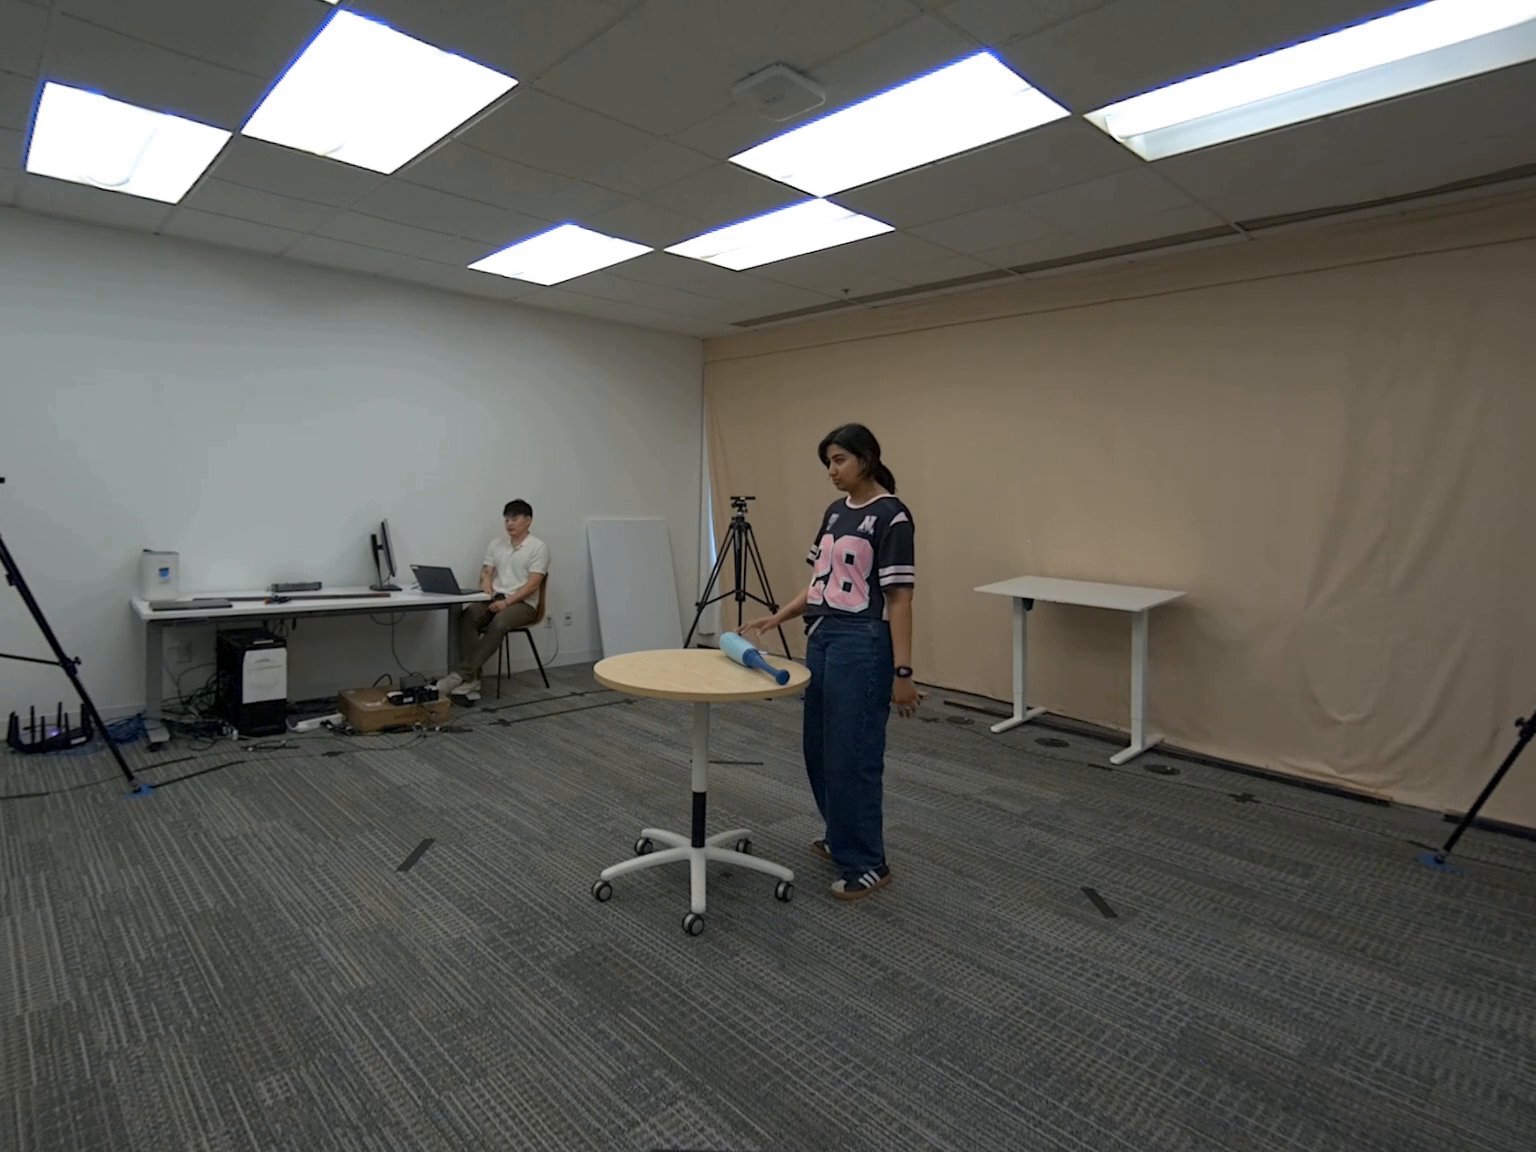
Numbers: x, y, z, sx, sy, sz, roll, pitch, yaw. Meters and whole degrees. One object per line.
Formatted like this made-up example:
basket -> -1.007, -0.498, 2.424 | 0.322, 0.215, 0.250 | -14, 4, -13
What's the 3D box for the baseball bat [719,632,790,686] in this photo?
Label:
baseball bat -> -0.054, 0.299, 2.996 | 0.088, 0.088, 0.554 | 0, 9, -21
